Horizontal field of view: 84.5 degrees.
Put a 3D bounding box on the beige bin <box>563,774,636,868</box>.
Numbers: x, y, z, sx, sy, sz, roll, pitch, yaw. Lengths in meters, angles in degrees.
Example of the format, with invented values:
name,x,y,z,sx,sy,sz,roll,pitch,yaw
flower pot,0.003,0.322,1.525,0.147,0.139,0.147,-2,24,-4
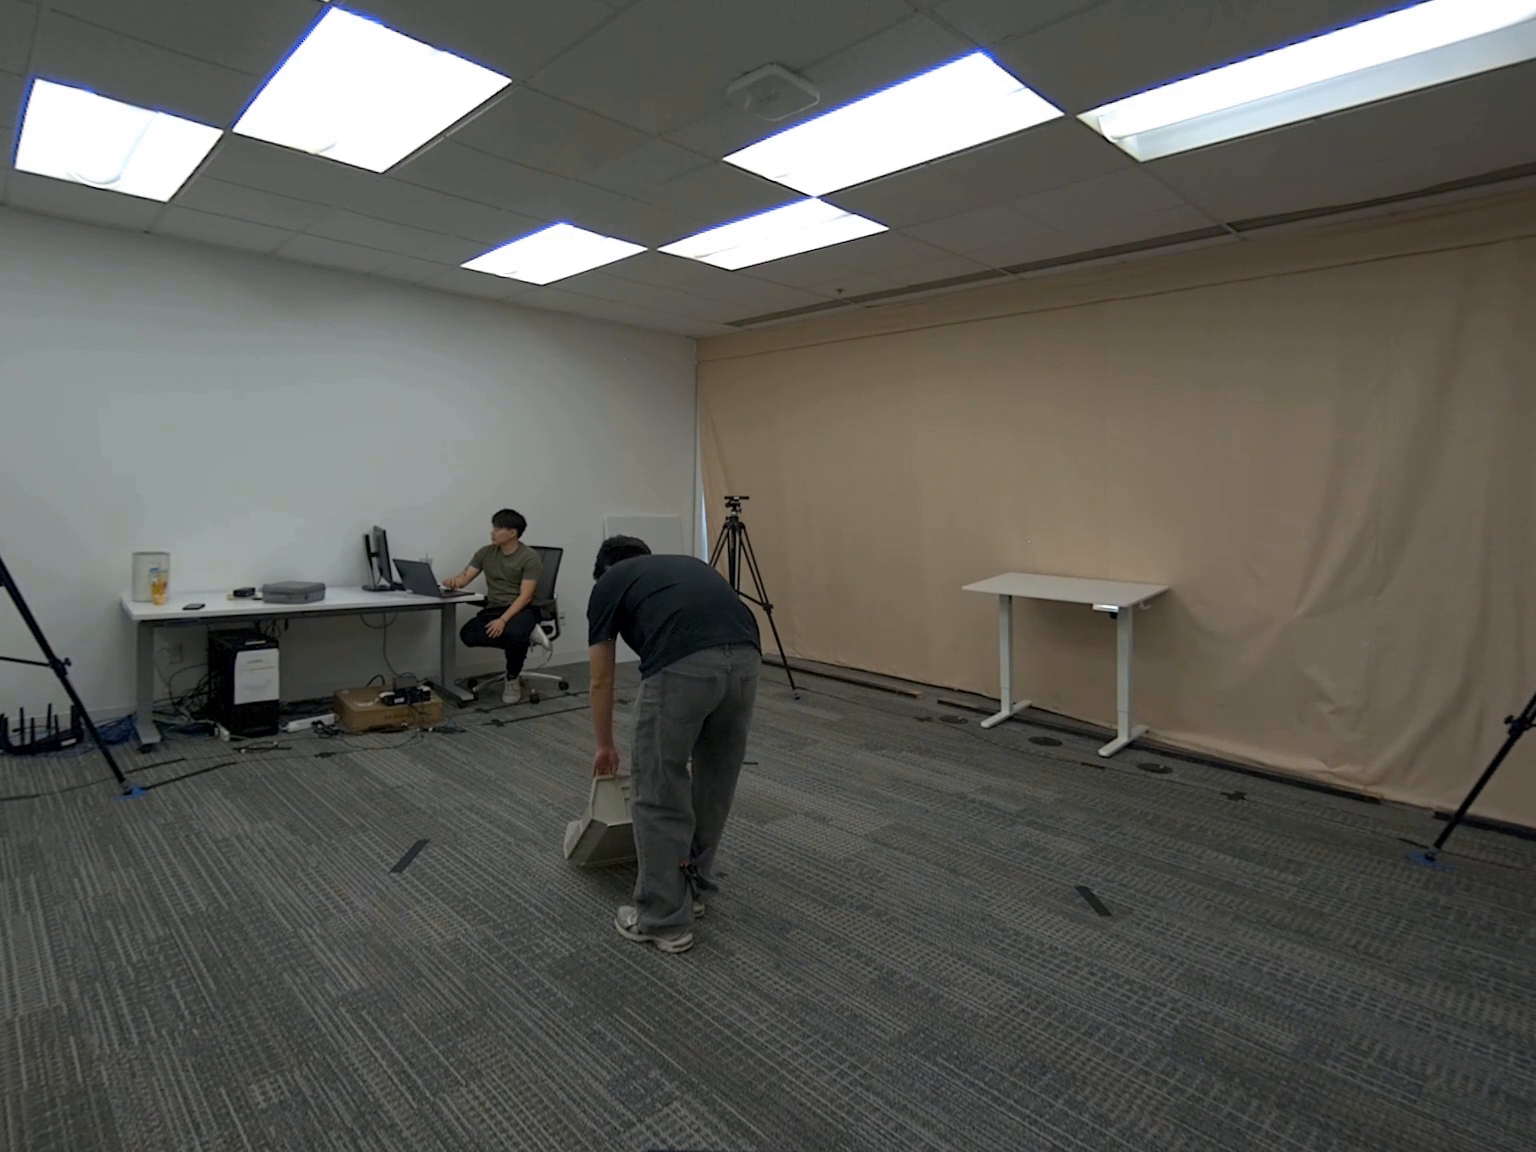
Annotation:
name,x,y,z,sx,sy,sz,roll,pitch,yaw
beige bin,-0.527,0.893,3.076,0.370,0.194,0.419,2,-38,-27
